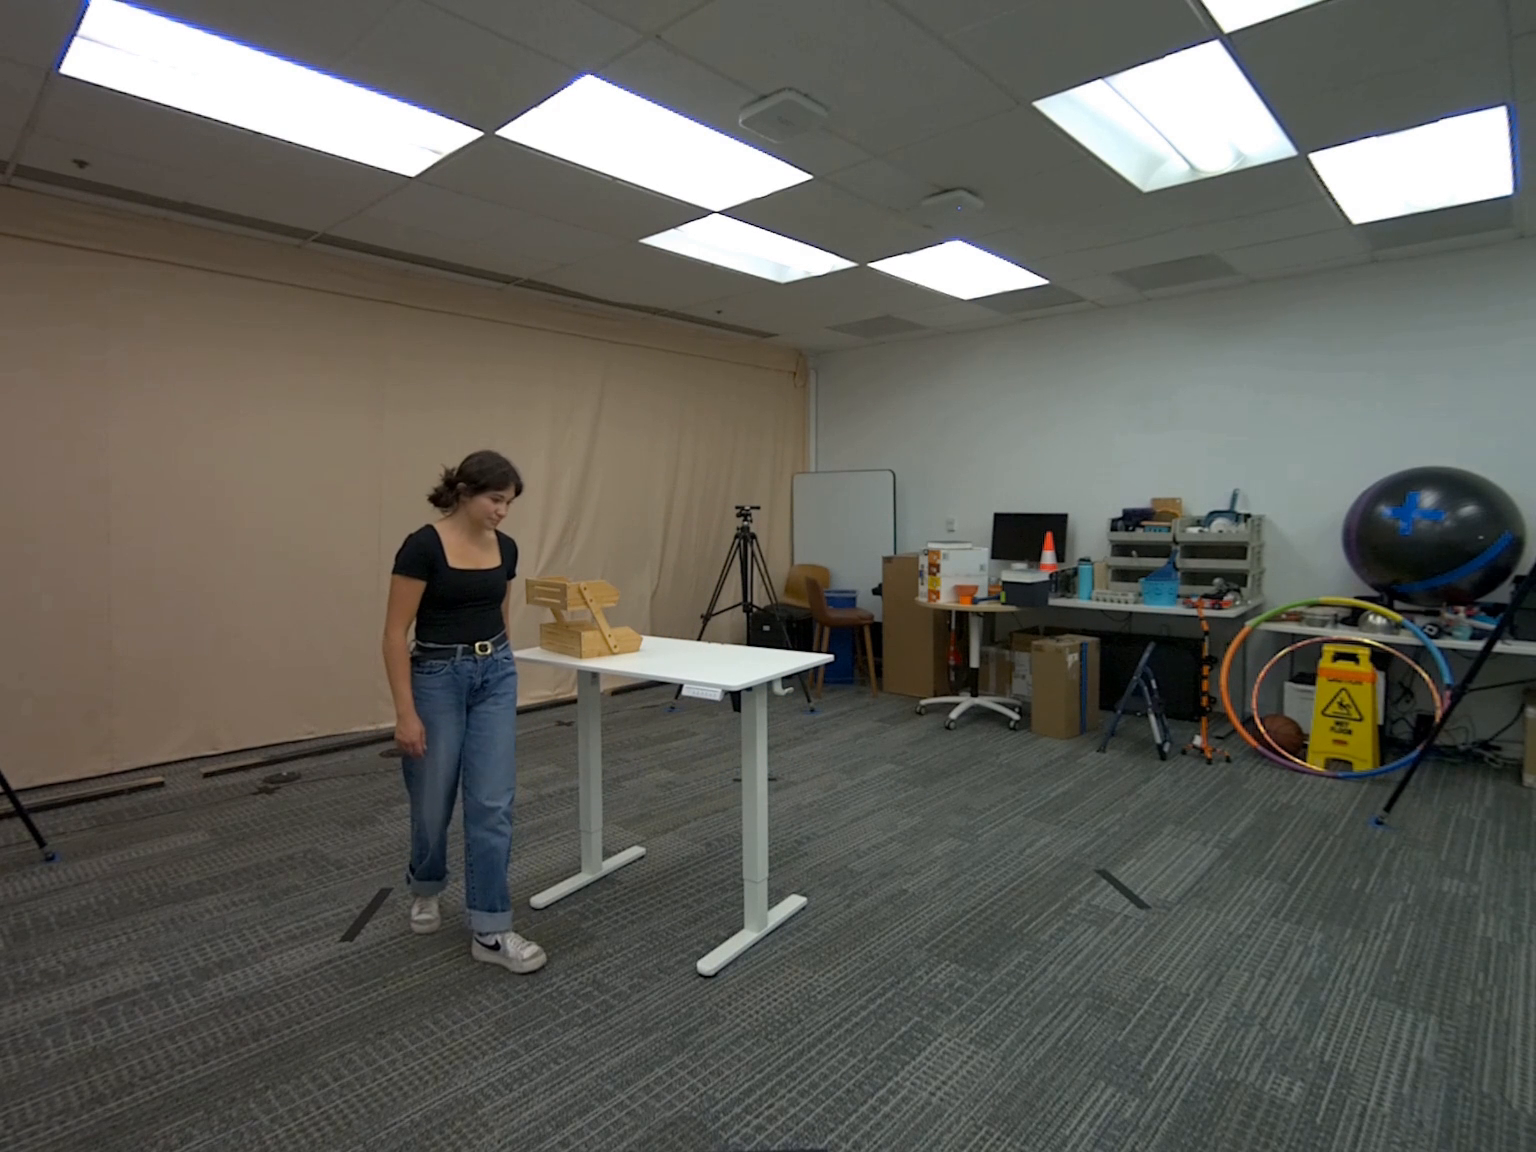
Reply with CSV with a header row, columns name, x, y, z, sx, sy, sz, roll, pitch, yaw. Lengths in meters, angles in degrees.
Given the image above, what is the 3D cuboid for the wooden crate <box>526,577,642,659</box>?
name,x,y,z,sx,sy,sz,roll,pitch,yaw
wooden crate,-0.655,0.134,3.003,0.293,0.273,0.335,-4,5,-41
